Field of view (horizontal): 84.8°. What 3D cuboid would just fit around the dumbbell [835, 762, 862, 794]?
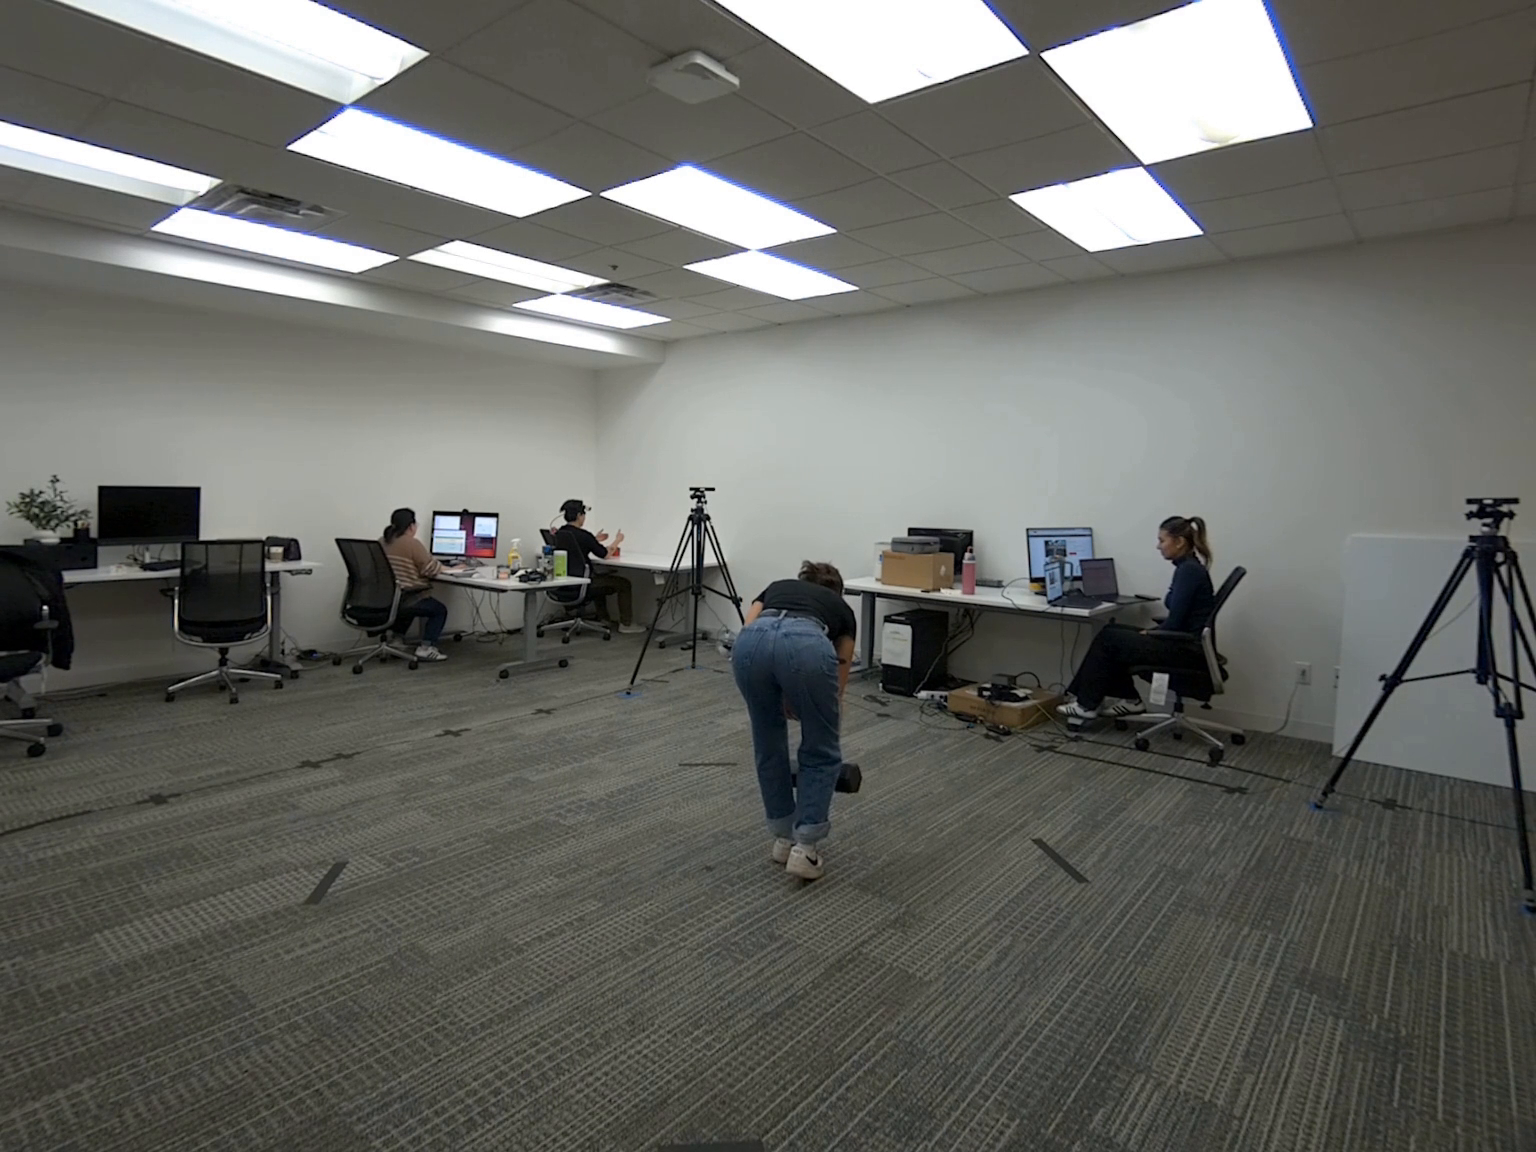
[{"bbox_3d":[0.204,0.769,3.282,0.302,0.124,0.104,-4,-44,37],"label":"dumbbell"}]
